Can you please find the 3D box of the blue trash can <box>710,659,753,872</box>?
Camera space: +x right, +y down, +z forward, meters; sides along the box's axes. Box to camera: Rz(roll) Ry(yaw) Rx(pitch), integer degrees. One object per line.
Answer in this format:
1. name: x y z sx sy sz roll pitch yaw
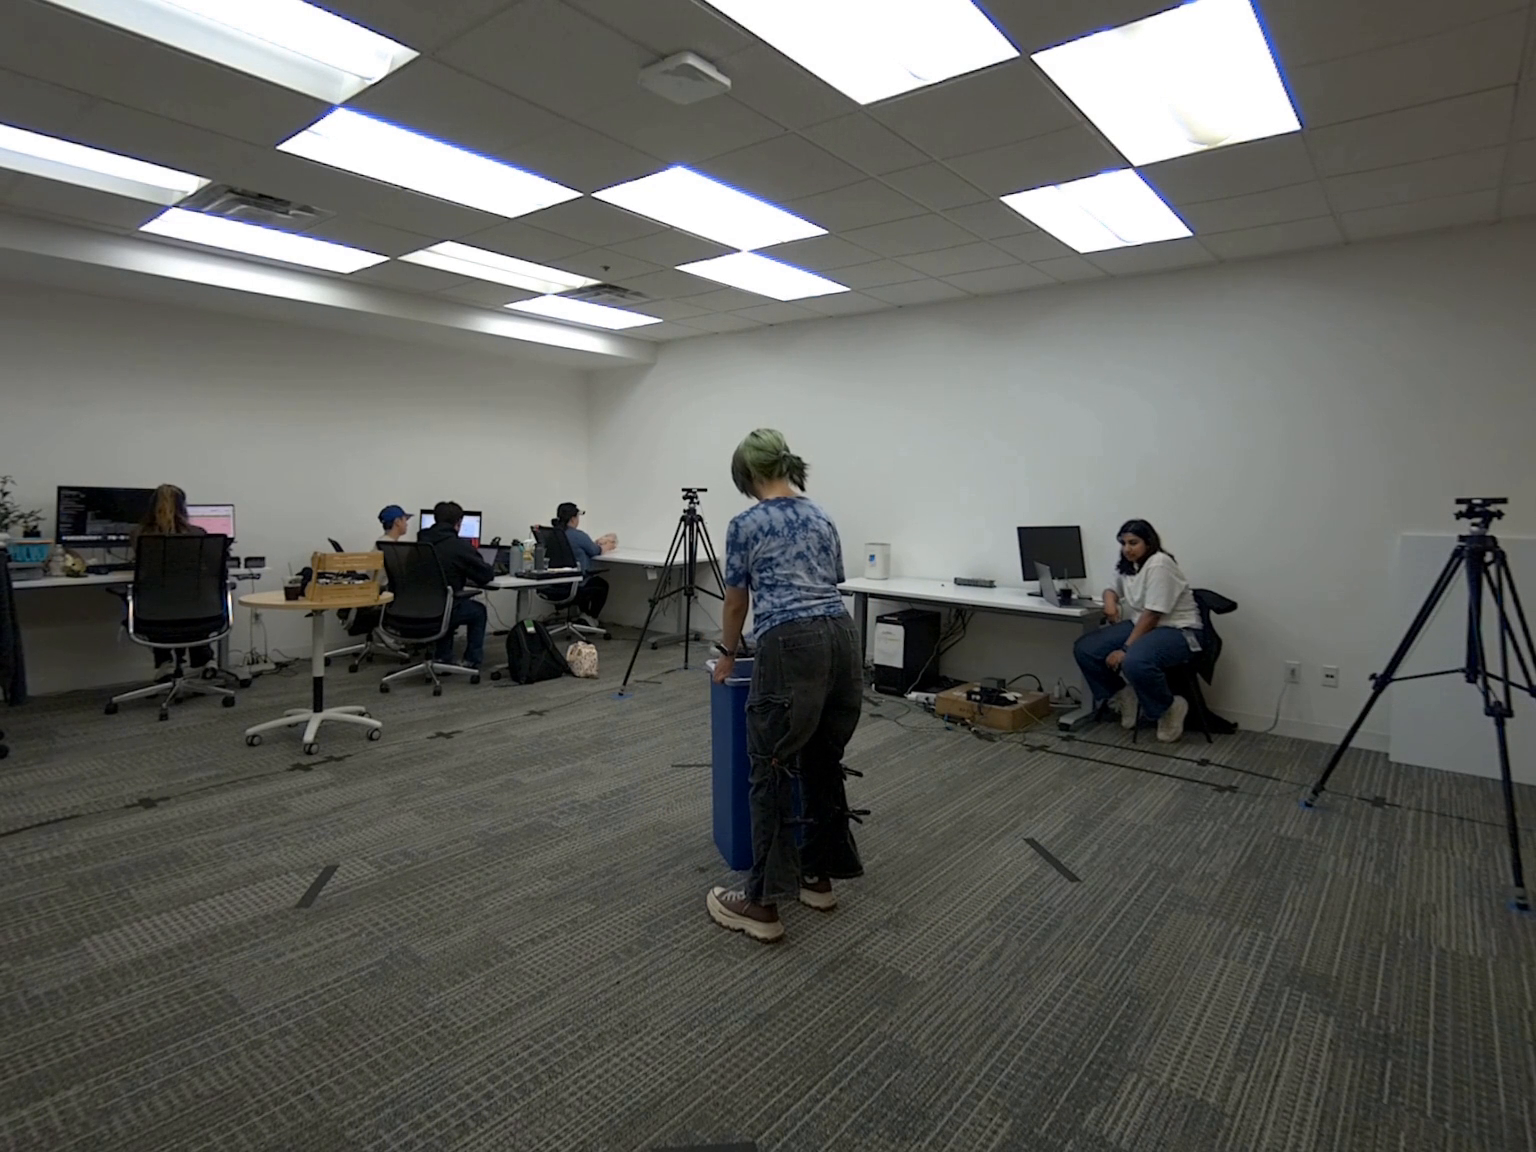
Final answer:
1. blue trash can: -0.041 0.697 3.256 0.368 0.712 0.386 0 3 -17
